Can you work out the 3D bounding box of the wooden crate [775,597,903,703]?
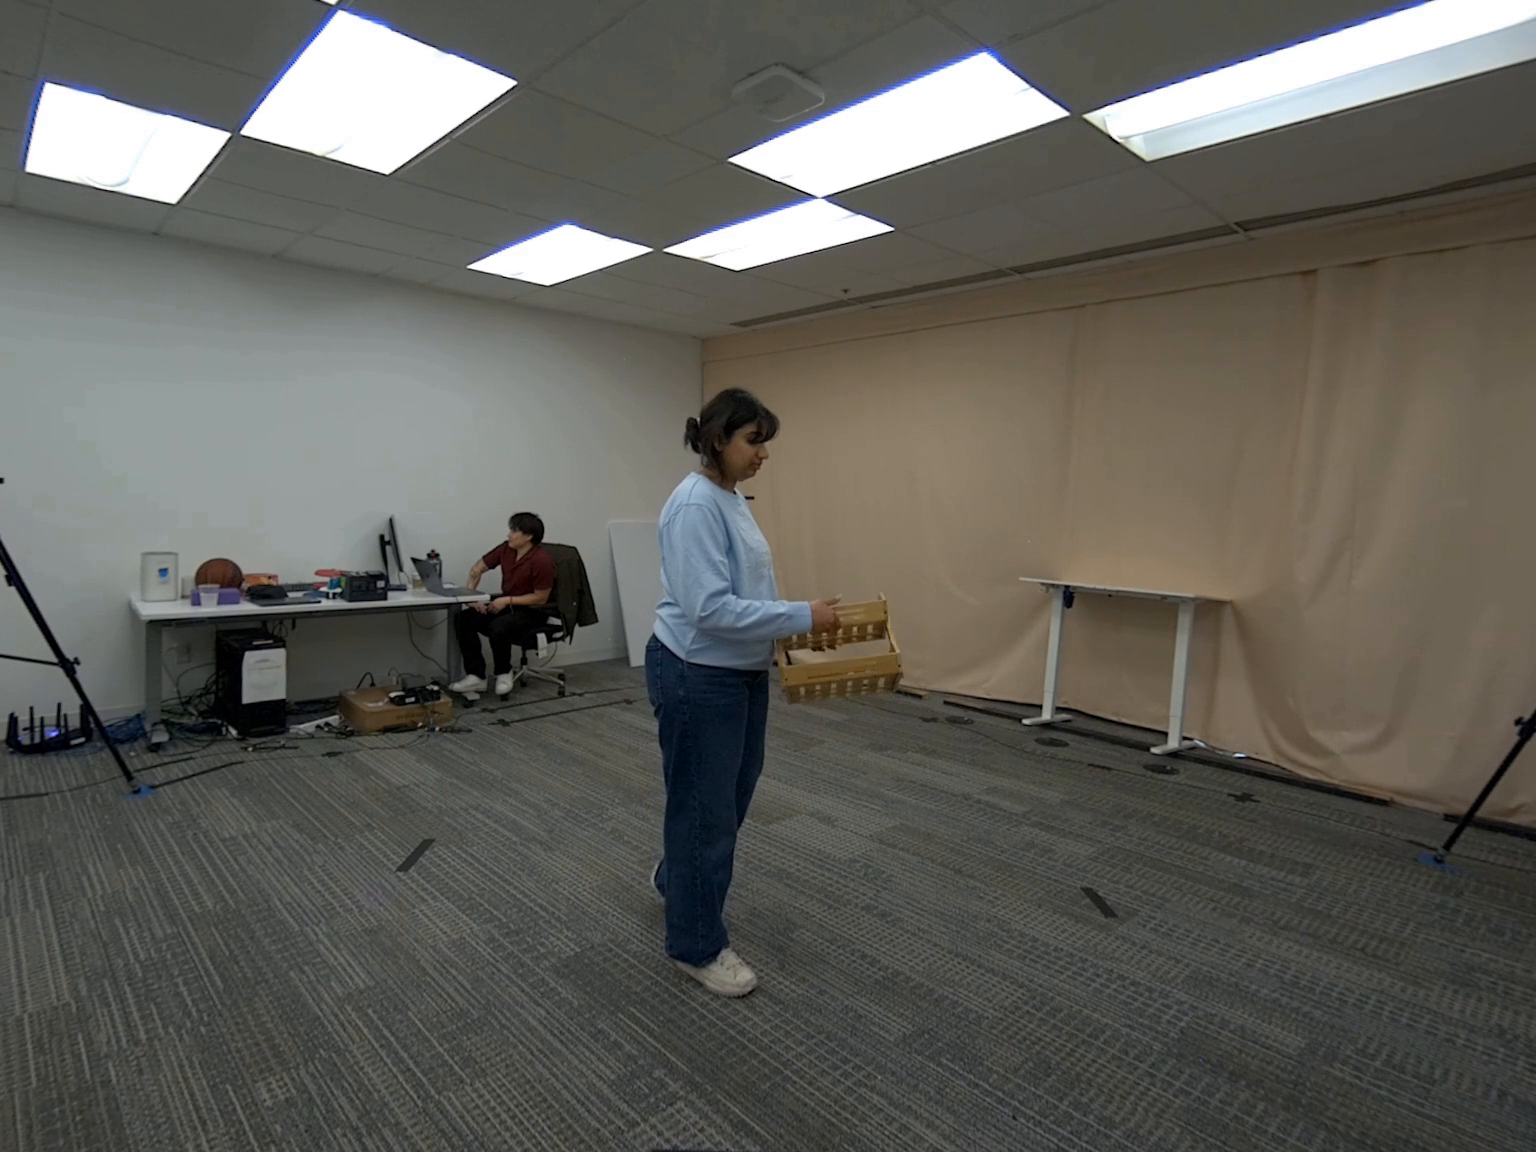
[{"bbox_3d":[0.171,0.184,2.294,0.325,0.278,0.296,-8,-22,3],"label":"wooden crate"}]
